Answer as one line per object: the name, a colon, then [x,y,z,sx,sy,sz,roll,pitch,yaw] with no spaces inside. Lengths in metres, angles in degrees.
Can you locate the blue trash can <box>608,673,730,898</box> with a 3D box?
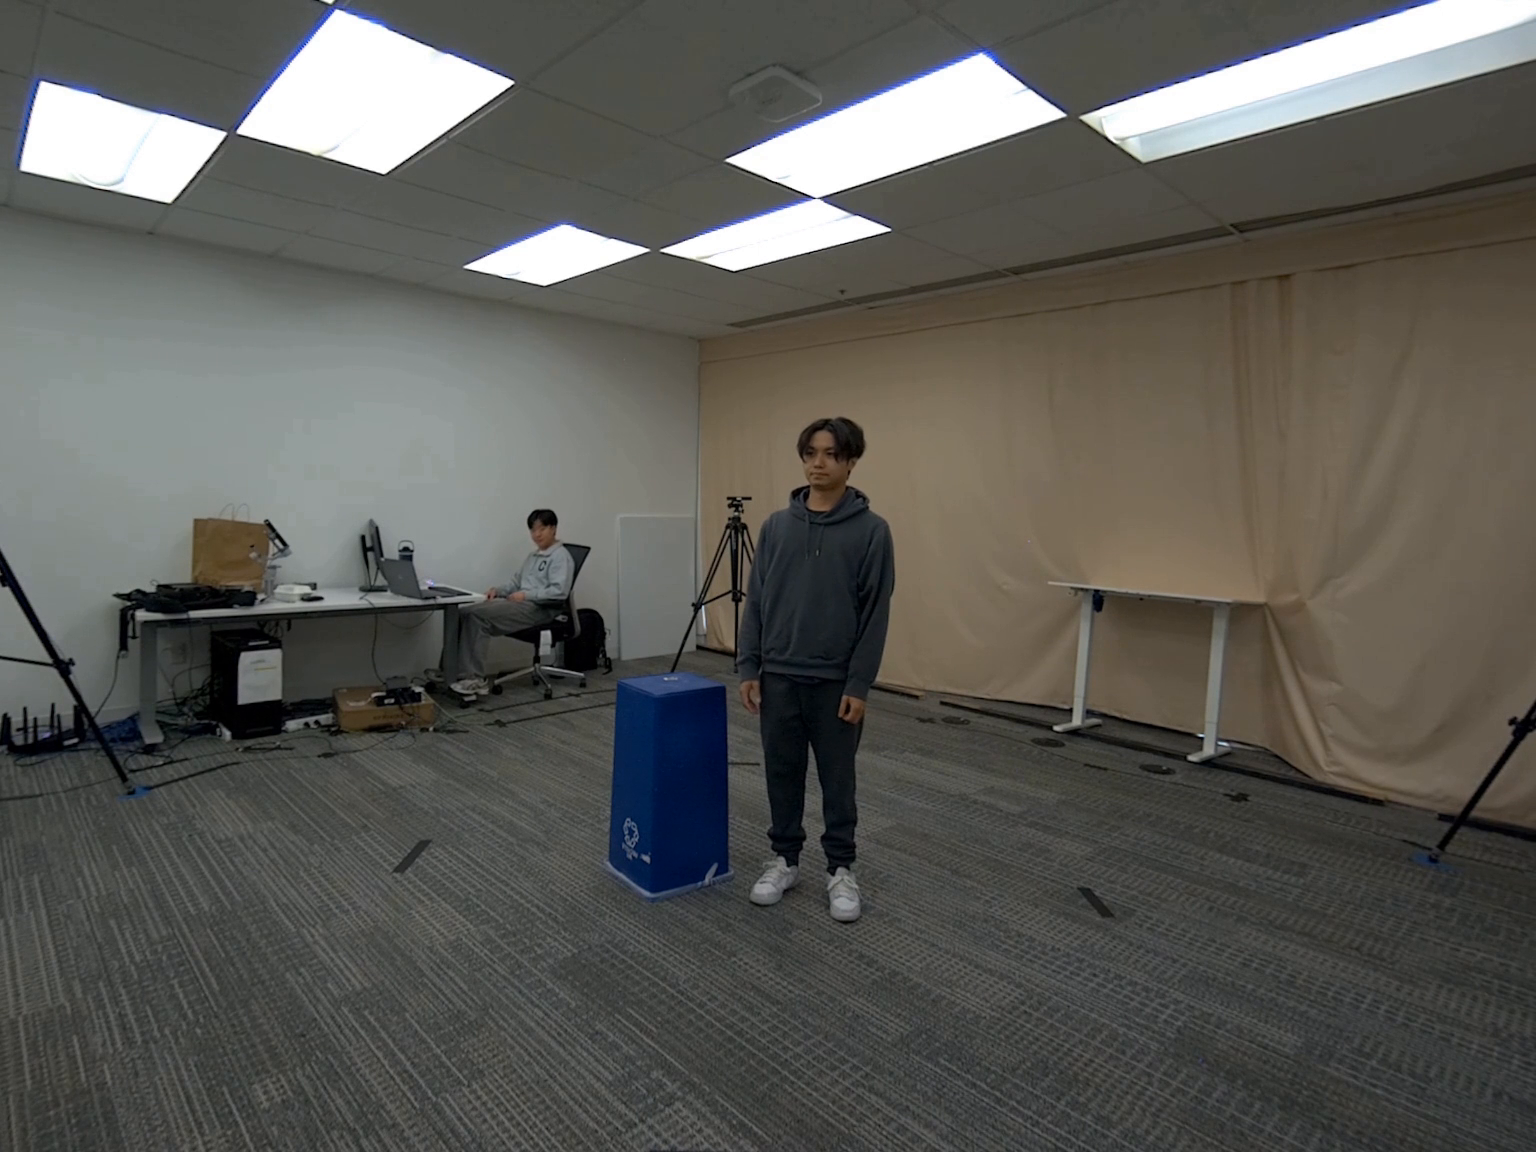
blue trash can: [-0.371,0.745,3.120,0.369,0.712,0.383,-1,3,-37]
